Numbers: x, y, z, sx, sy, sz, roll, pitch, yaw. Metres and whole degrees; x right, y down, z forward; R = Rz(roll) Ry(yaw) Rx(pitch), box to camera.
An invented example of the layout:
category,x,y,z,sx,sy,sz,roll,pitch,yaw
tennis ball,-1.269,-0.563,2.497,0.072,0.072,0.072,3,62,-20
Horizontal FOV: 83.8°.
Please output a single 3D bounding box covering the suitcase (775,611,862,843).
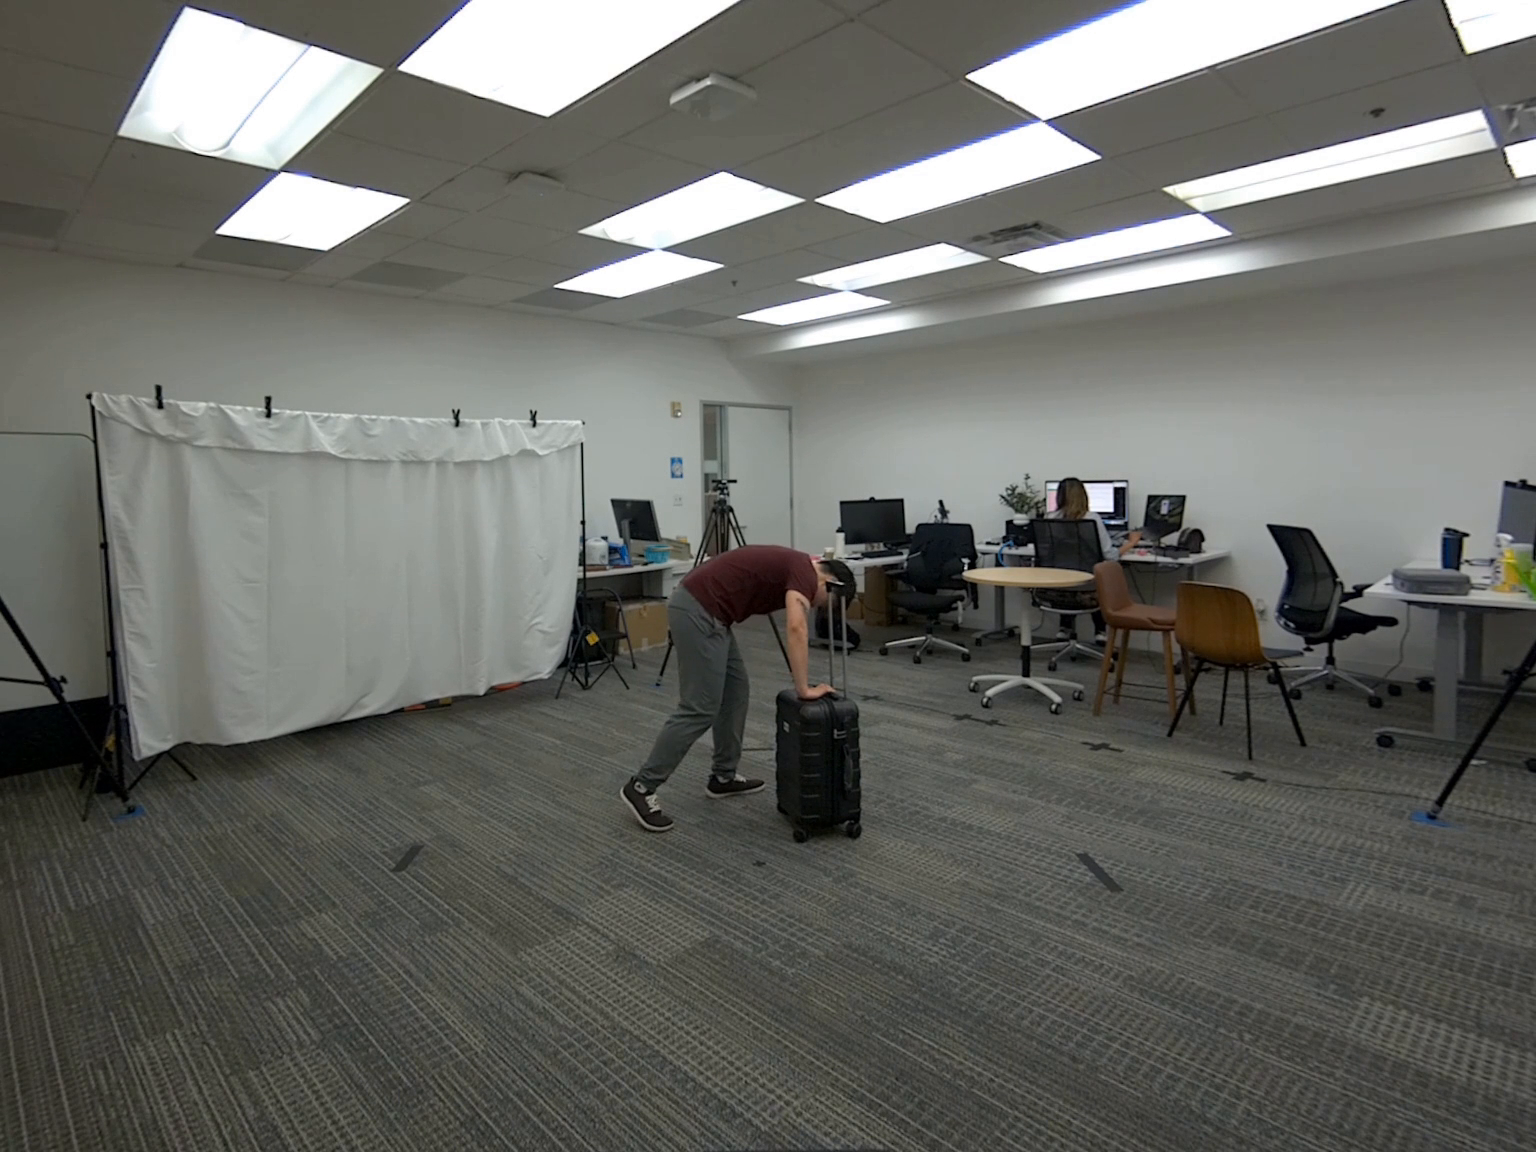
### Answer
category,x,y,z,sx,sy,sz,roll,pitch,yaw
suitcase,0.192,0.534,3.425,0.254,0.975,0.390,-3,4,-15
